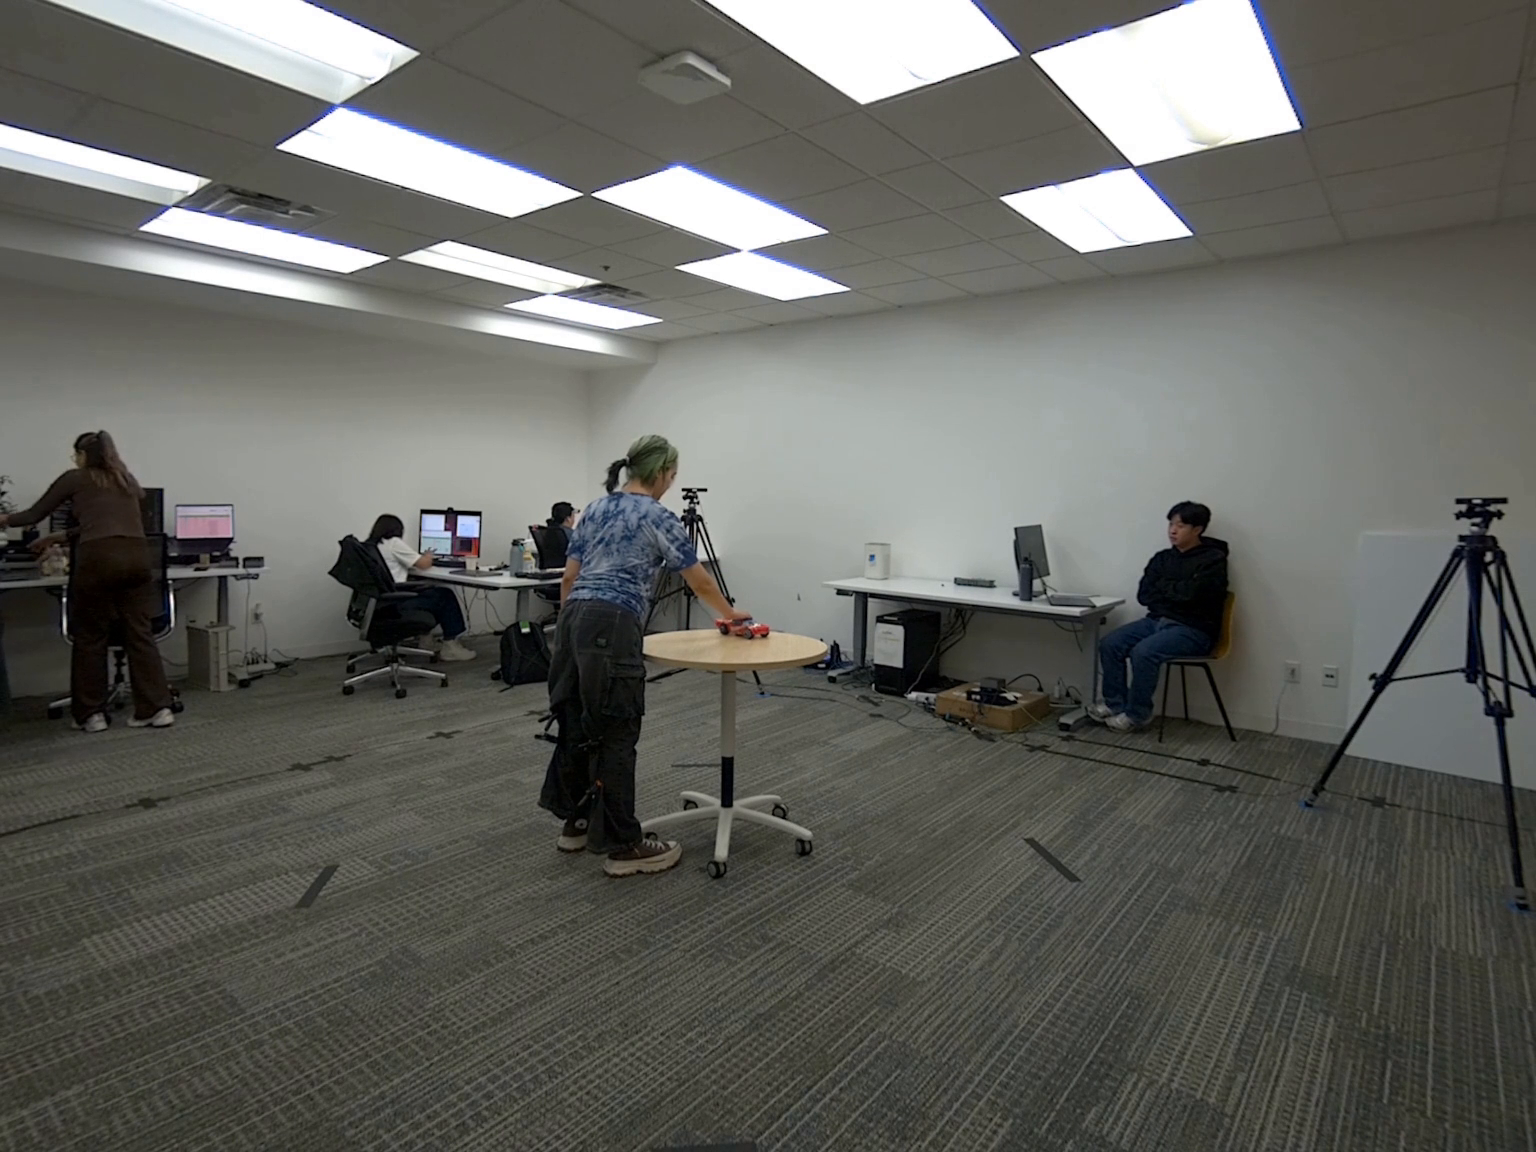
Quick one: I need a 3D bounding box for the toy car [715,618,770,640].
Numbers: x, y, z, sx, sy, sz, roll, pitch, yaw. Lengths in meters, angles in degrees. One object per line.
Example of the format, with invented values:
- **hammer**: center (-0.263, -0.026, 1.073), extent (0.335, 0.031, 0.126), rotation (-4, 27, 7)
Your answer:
- **toy car**: center (-0.125, 0.214, 3.578), extent (0.126, 0.082, 0.265), rotation (-4, 16, -43)
